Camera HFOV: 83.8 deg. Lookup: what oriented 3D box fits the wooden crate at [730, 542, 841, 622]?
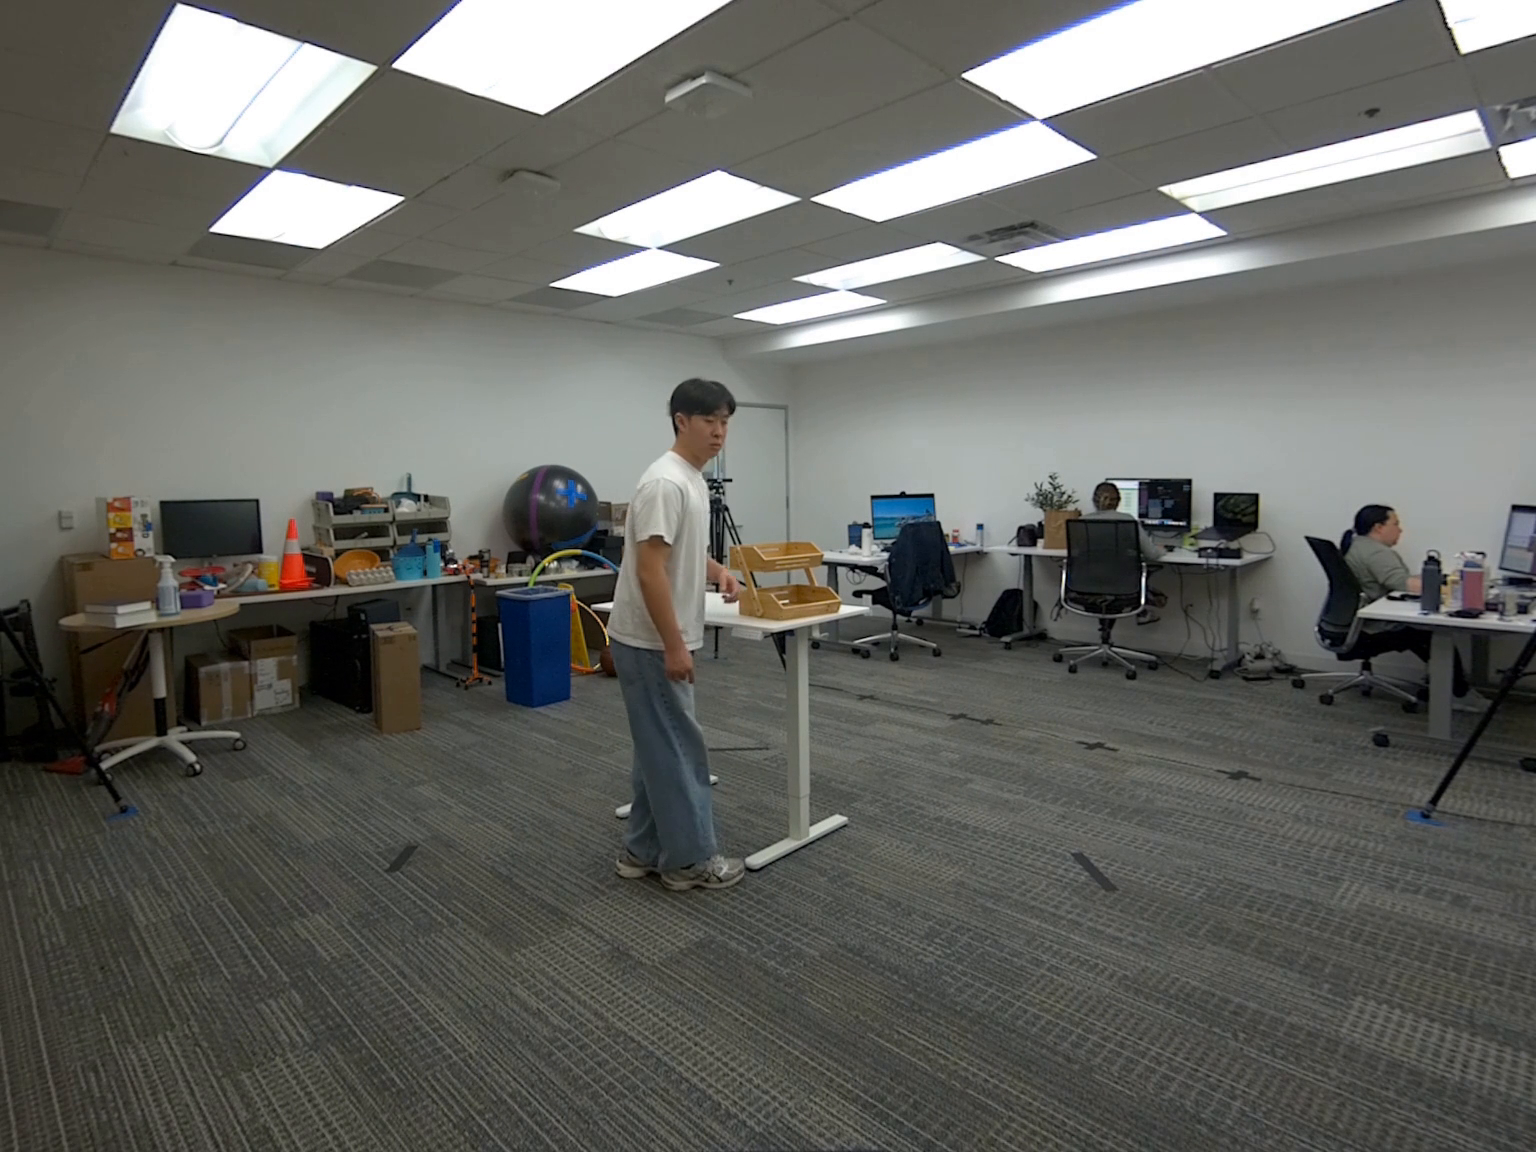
[{"bbox_3d":[0.067,0.008,3.244,0.316,0.272,0.311,-5,5,-40],"label":"wooden crate"}]
